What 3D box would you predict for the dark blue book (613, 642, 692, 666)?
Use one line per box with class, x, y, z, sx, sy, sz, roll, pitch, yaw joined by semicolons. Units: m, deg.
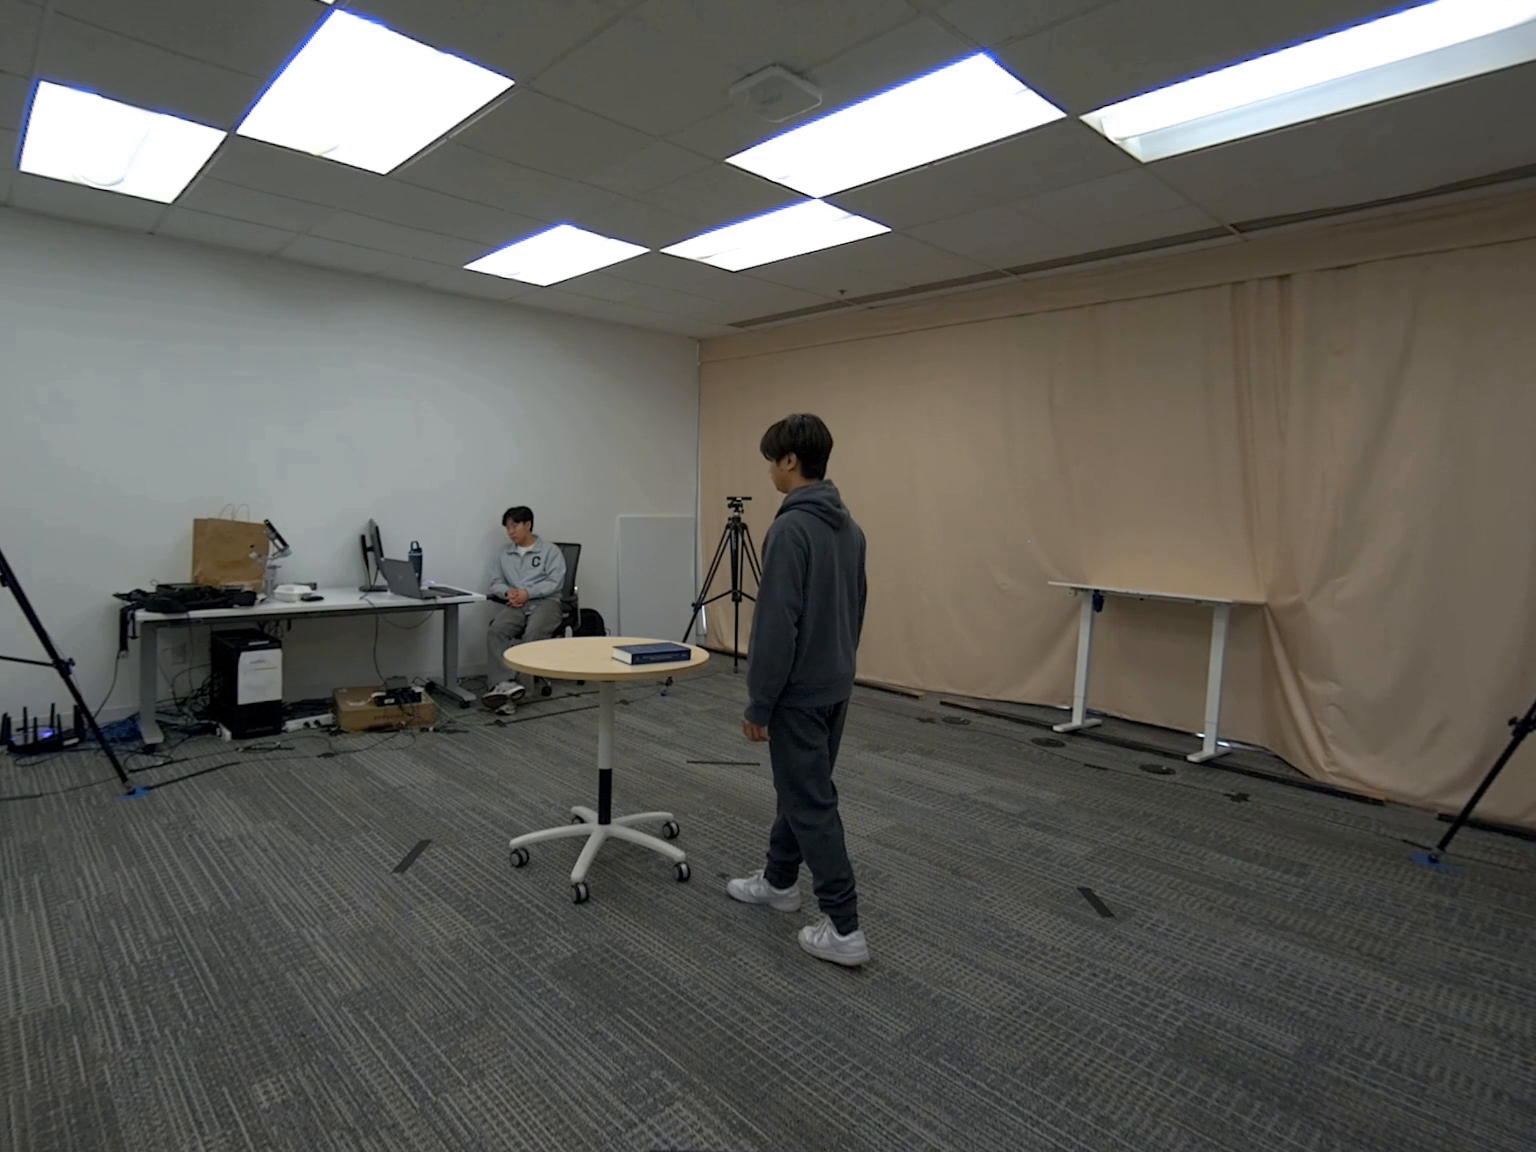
dark blue book;-0.436;0.288;3.088;0.240;0.045;0.167;-2;6;-32
